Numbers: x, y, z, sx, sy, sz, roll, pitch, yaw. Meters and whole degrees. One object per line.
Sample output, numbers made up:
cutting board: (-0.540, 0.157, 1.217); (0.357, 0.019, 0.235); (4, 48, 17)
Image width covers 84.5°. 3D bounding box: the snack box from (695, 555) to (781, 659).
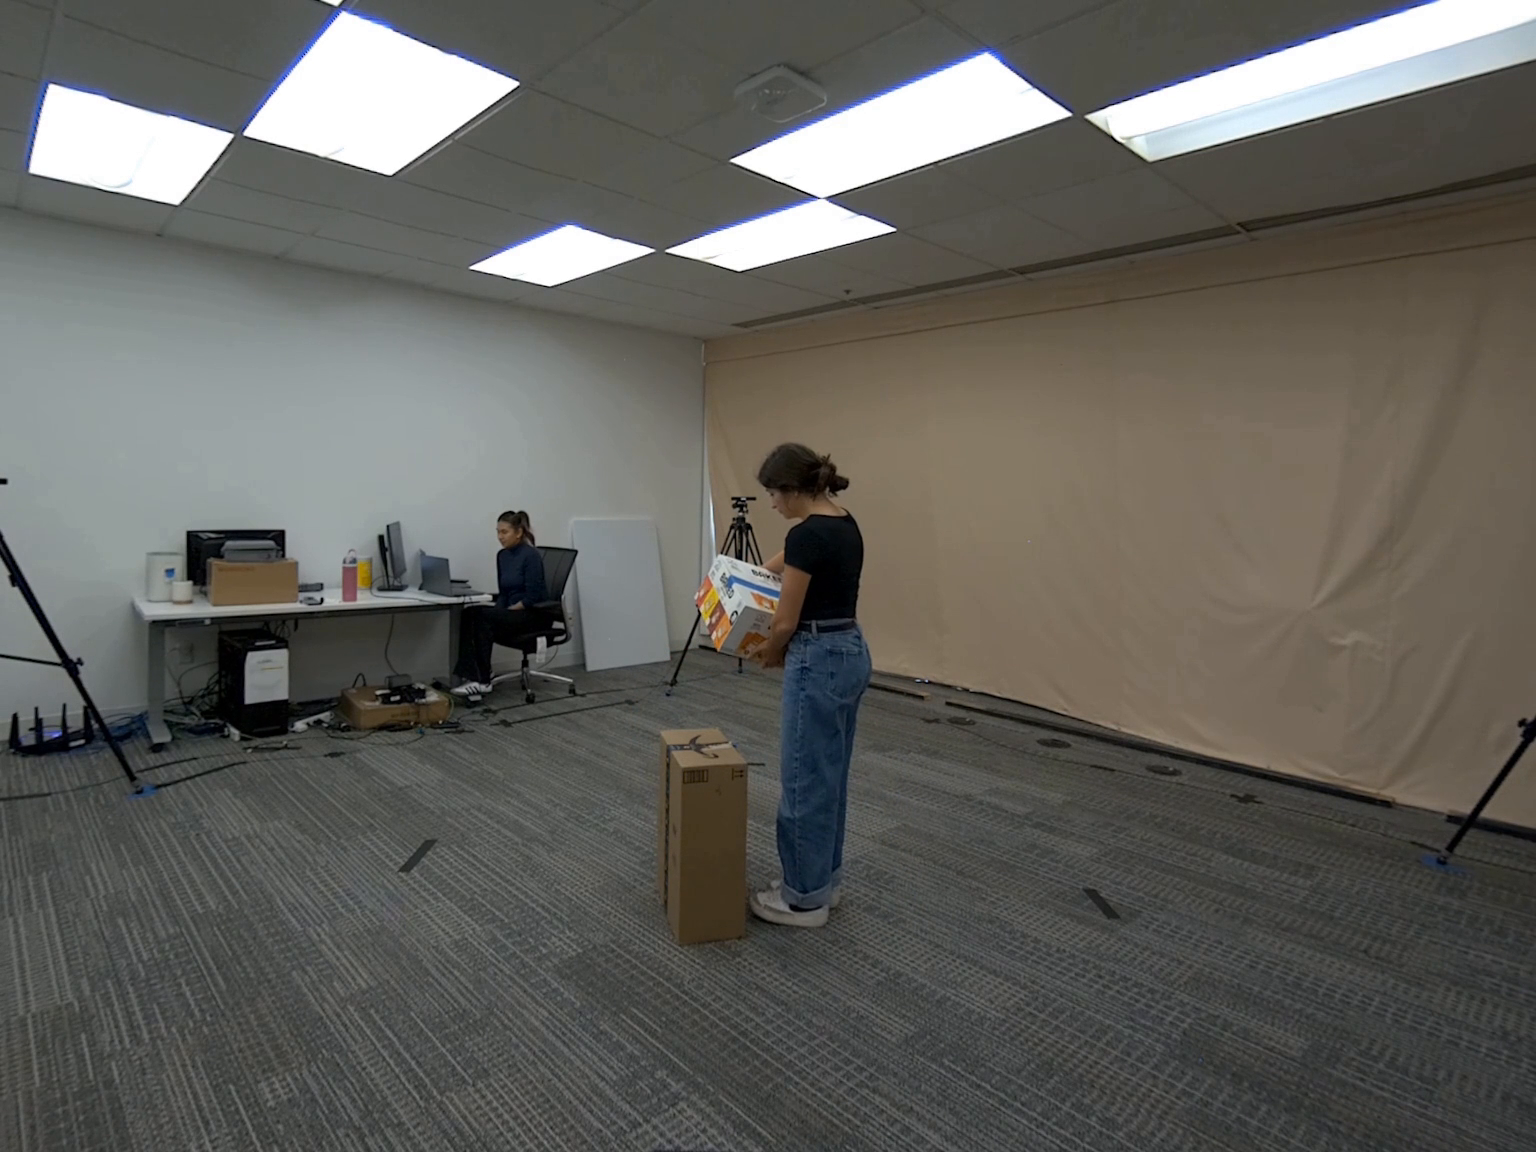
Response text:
snack box: (-0.019, 0.144, 3.059); (0.395, 0.205, 0.350); (18, 24, -29)
